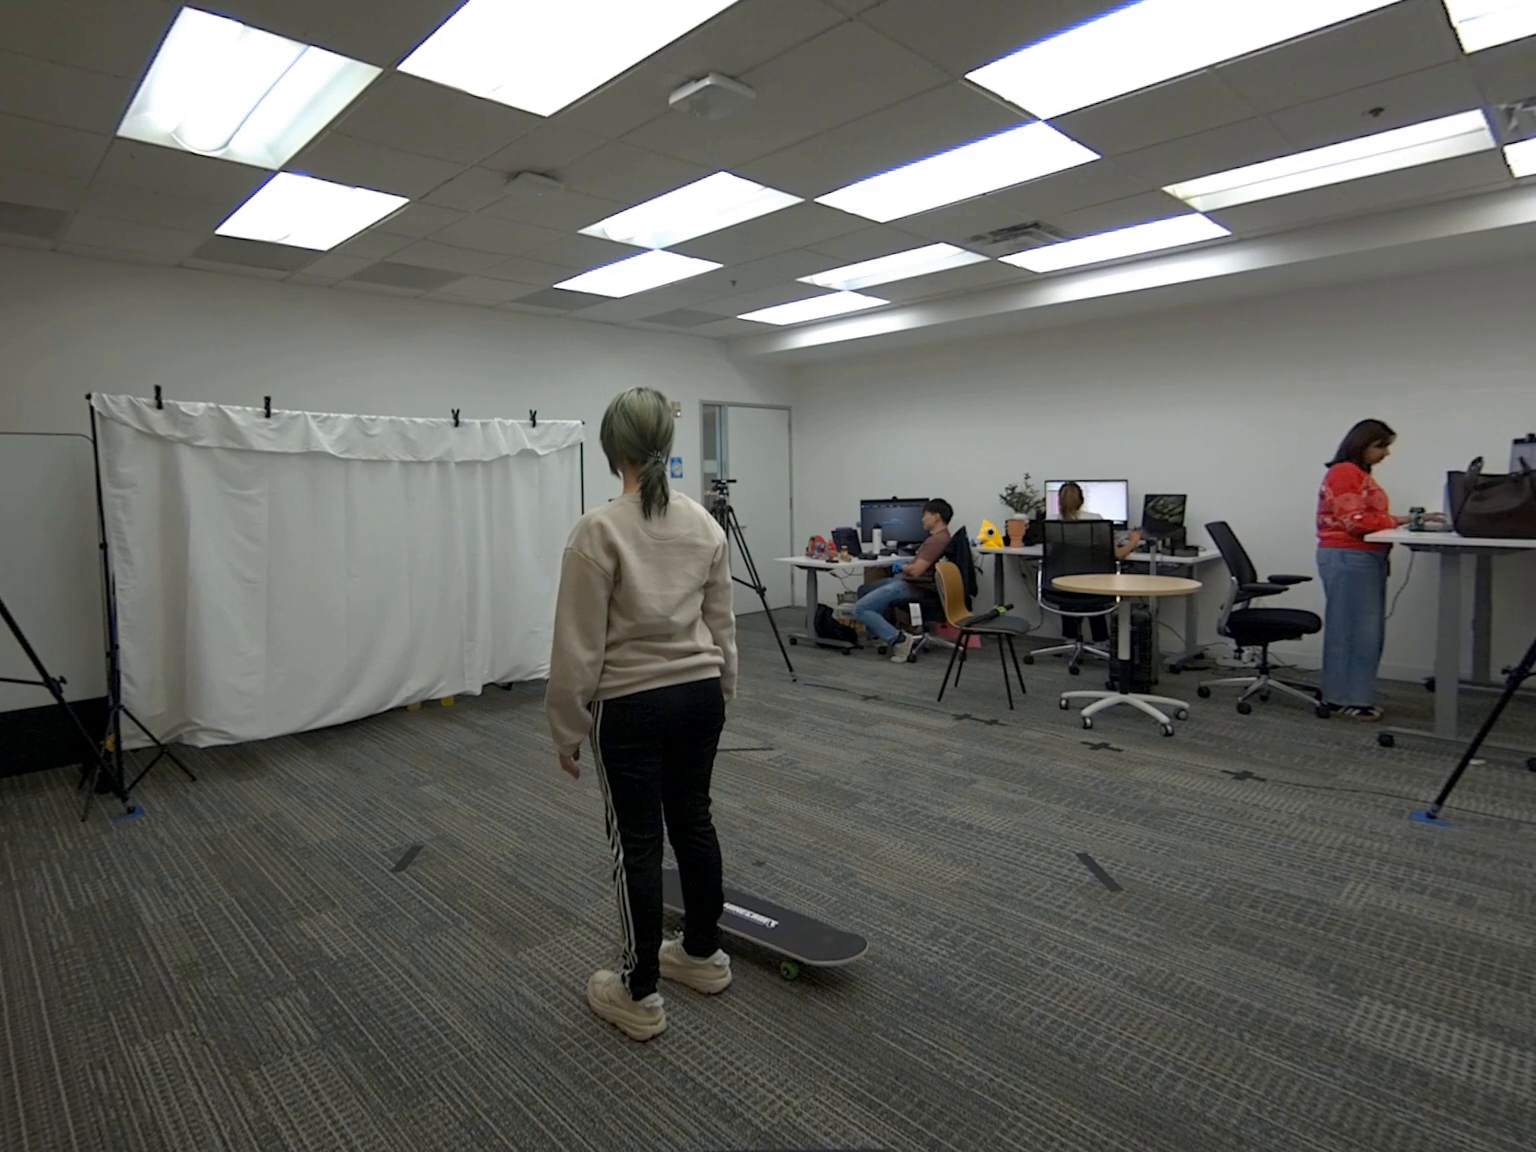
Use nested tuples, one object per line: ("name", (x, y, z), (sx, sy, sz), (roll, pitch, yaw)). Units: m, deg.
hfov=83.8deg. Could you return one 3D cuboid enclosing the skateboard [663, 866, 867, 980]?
("skateboard", (-0.054, 1.056, 2.566), (0.809, 0.110, 0.189), (3, 9, 37))
